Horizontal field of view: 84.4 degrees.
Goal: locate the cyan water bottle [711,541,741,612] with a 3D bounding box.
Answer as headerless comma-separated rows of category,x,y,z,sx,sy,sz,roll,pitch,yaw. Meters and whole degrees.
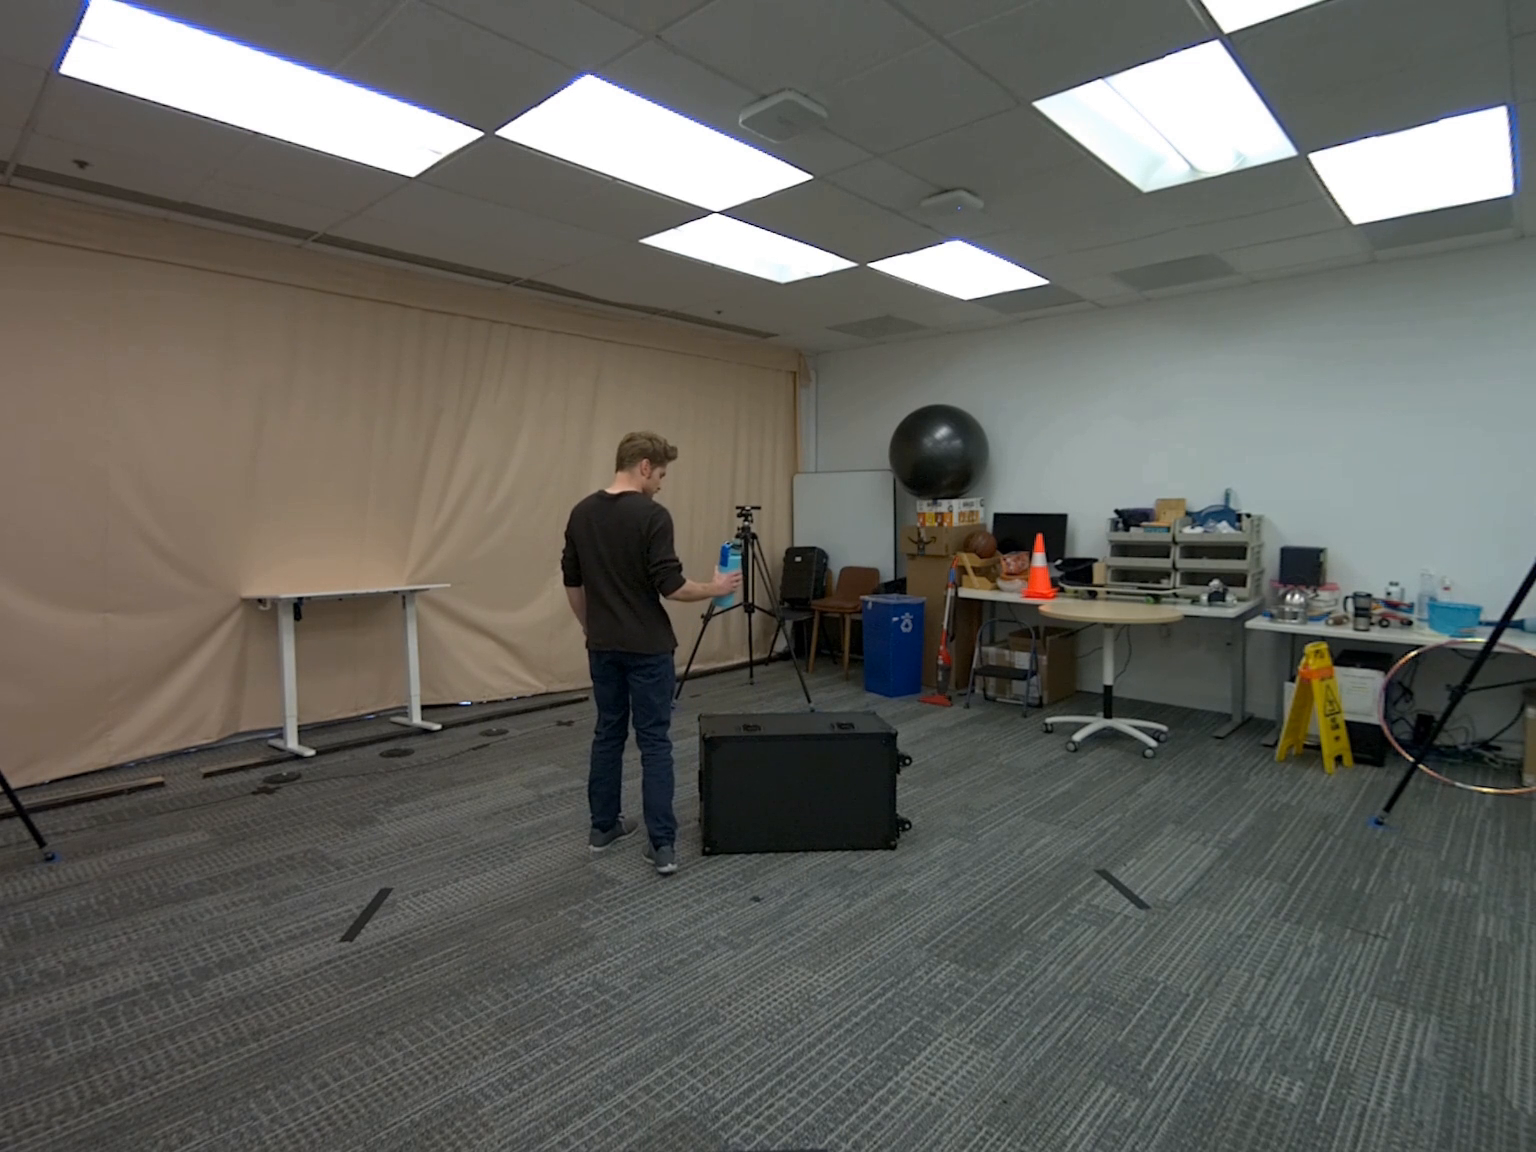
cyan water bottle,-0.169,-0.014,3.489,0.092,0.281,0.093,8,16,-4
